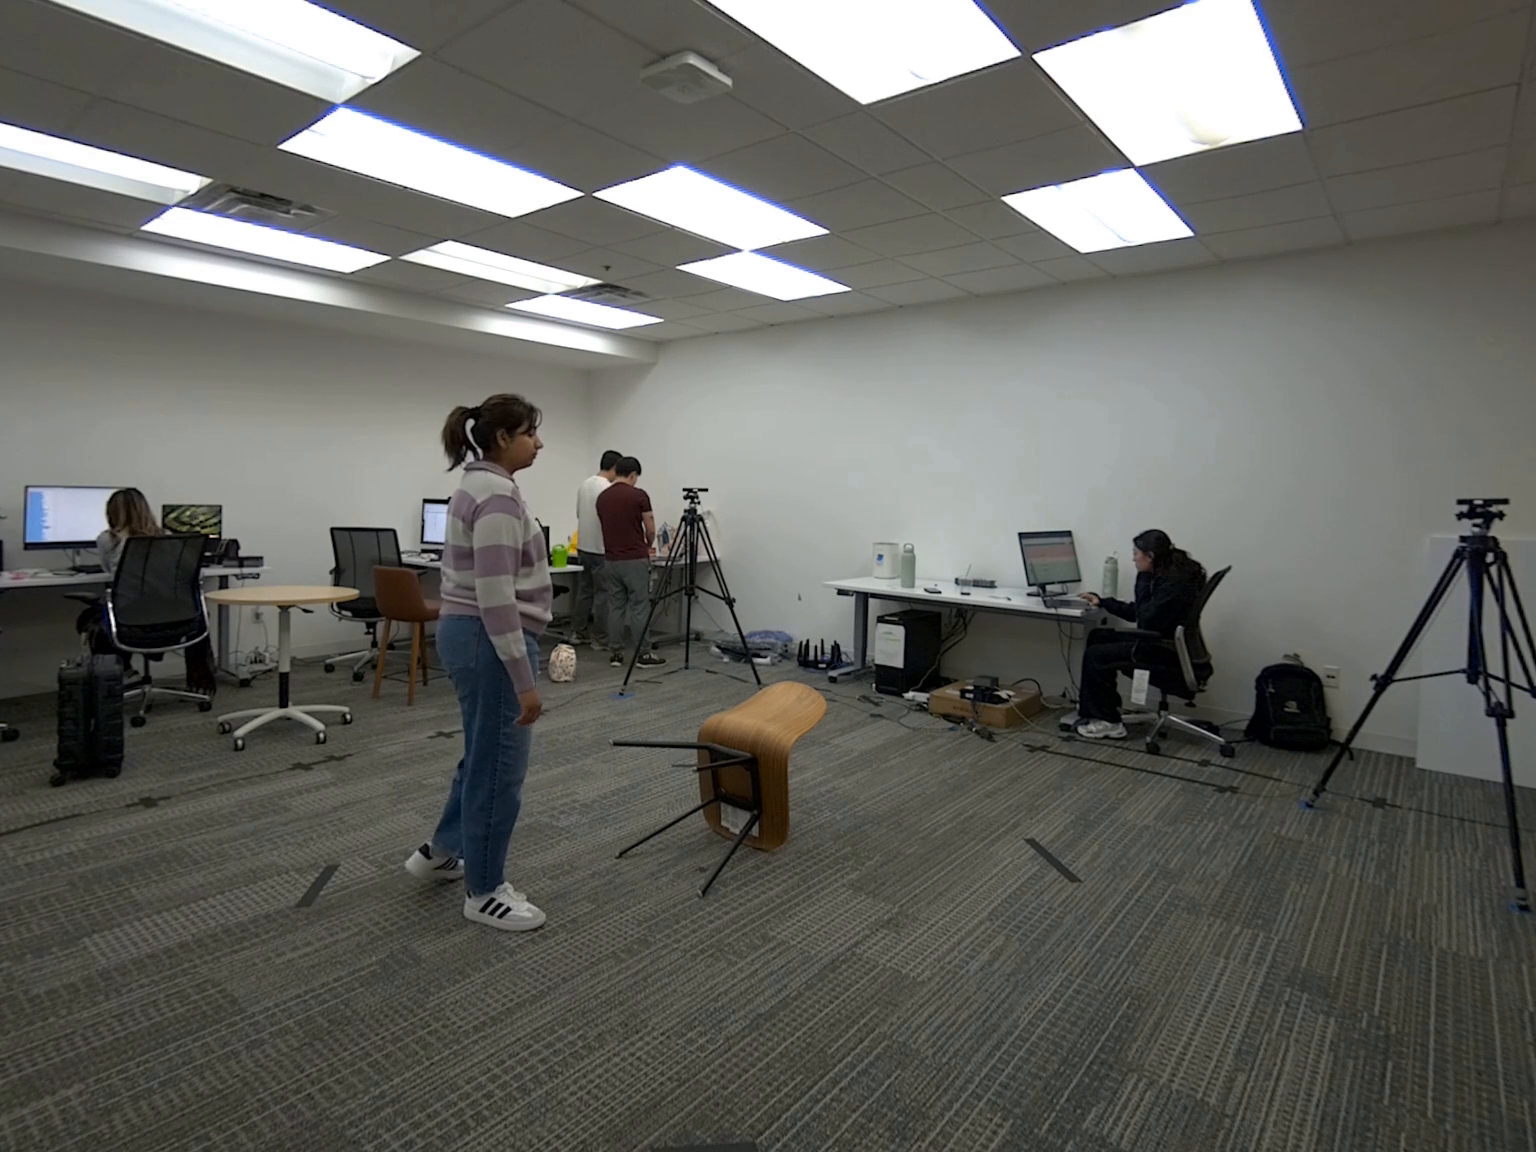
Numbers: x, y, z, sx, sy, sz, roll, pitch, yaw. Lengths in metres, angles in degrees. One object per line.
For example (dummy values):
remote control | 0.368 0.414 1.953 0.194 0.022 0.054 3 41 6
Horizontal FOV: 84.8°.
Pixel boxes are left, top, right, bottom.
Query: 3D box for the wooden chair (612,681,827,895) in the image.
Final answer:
wooden chair | -0.145 0.795 3.327 0.494 0.518 0.857 4 14 41
